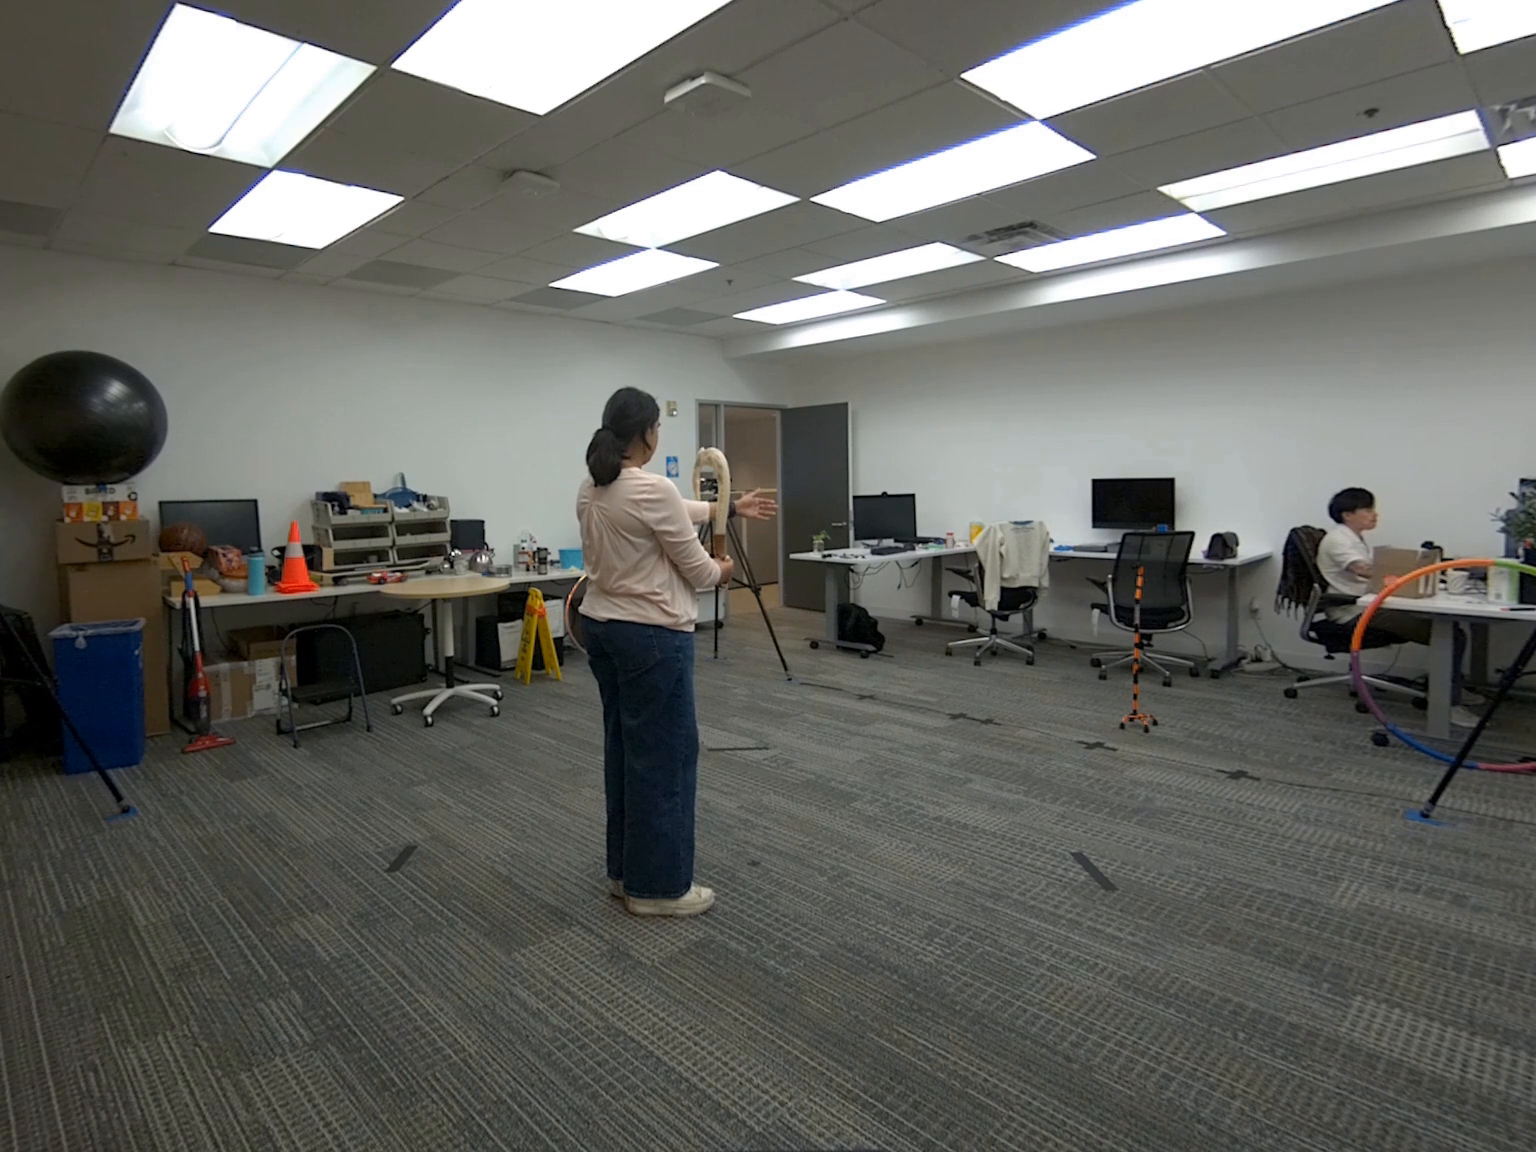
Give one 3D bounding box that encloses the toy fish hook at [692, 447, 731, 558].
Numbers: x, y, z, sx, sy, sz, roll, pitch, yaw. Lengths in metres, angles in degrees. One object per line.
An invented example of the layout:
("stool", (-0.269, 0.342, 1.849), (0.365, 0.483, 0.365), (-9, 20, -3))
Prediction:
("toy fish hook", (-0.205, -0.212, 3.112), (0.047, 0.503, 0.232), (-5, 10, -32))
